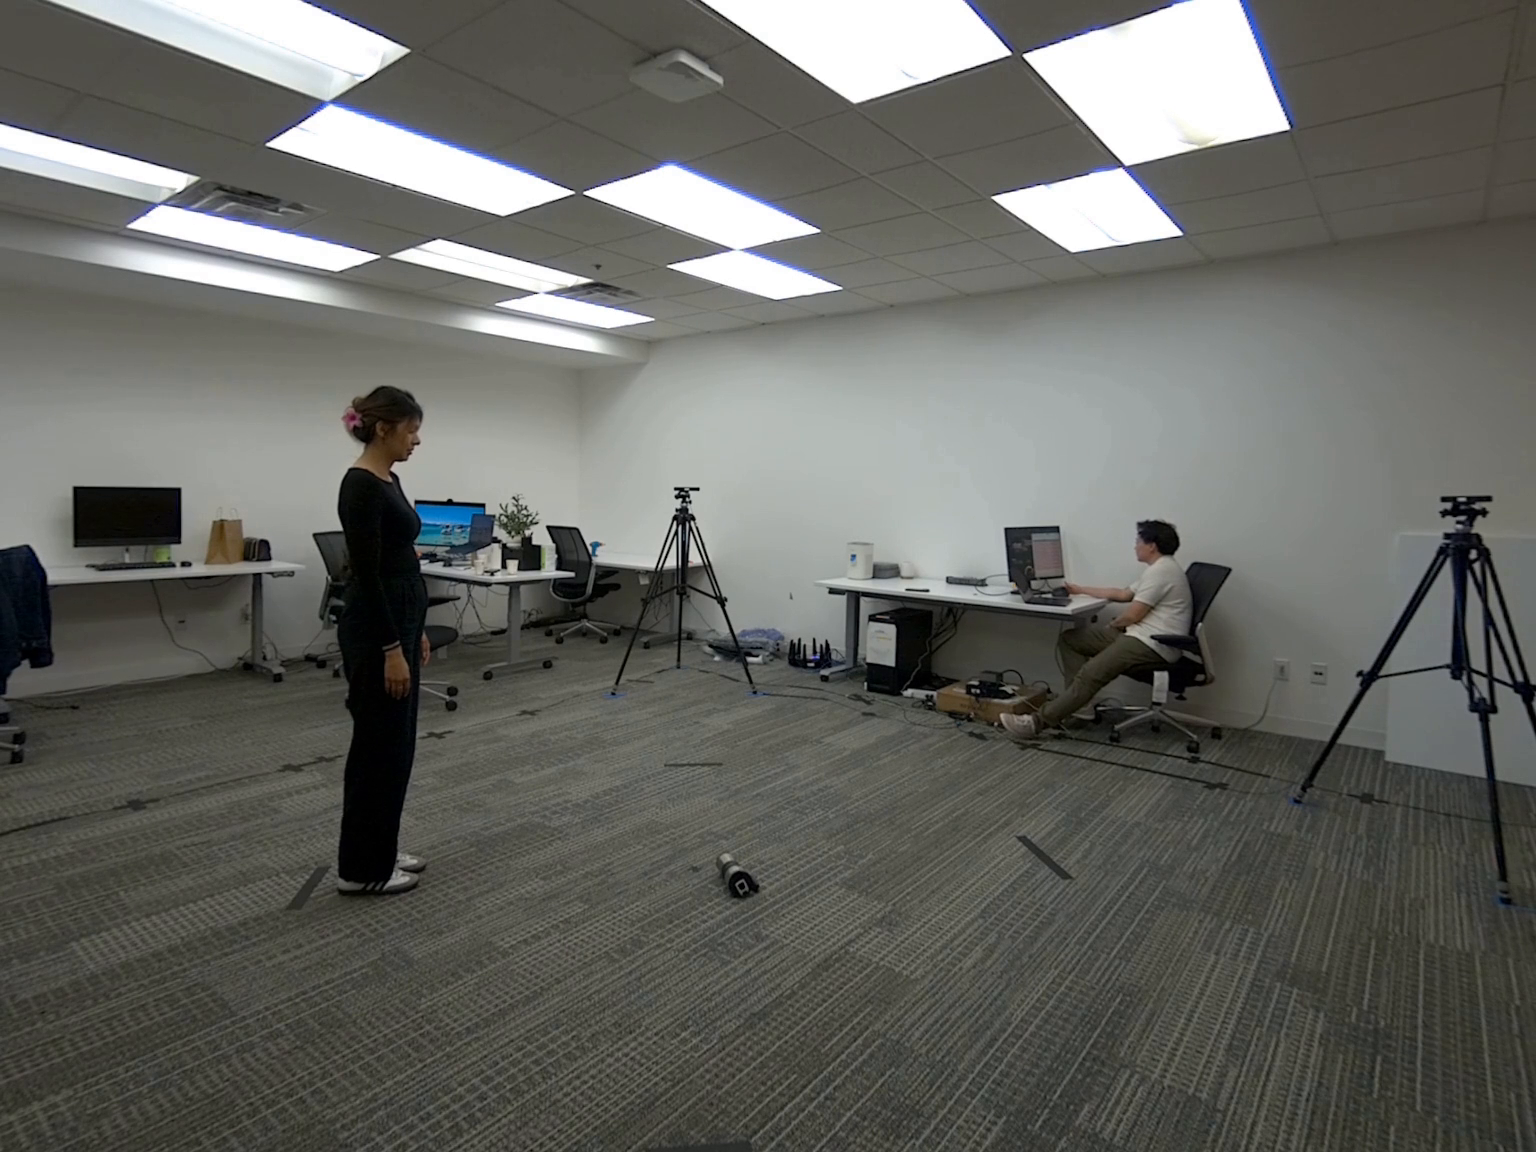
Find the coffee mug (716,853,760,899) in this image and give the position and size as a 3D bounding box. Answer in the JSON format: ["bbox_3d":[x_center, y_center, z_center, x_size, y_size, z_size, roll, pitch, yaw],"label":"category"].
[{"bbox_3d":[-0.117,1.055,2.980,0.088,0.120,0.206,-43,12,-13],"label":"coffee mug"}]
